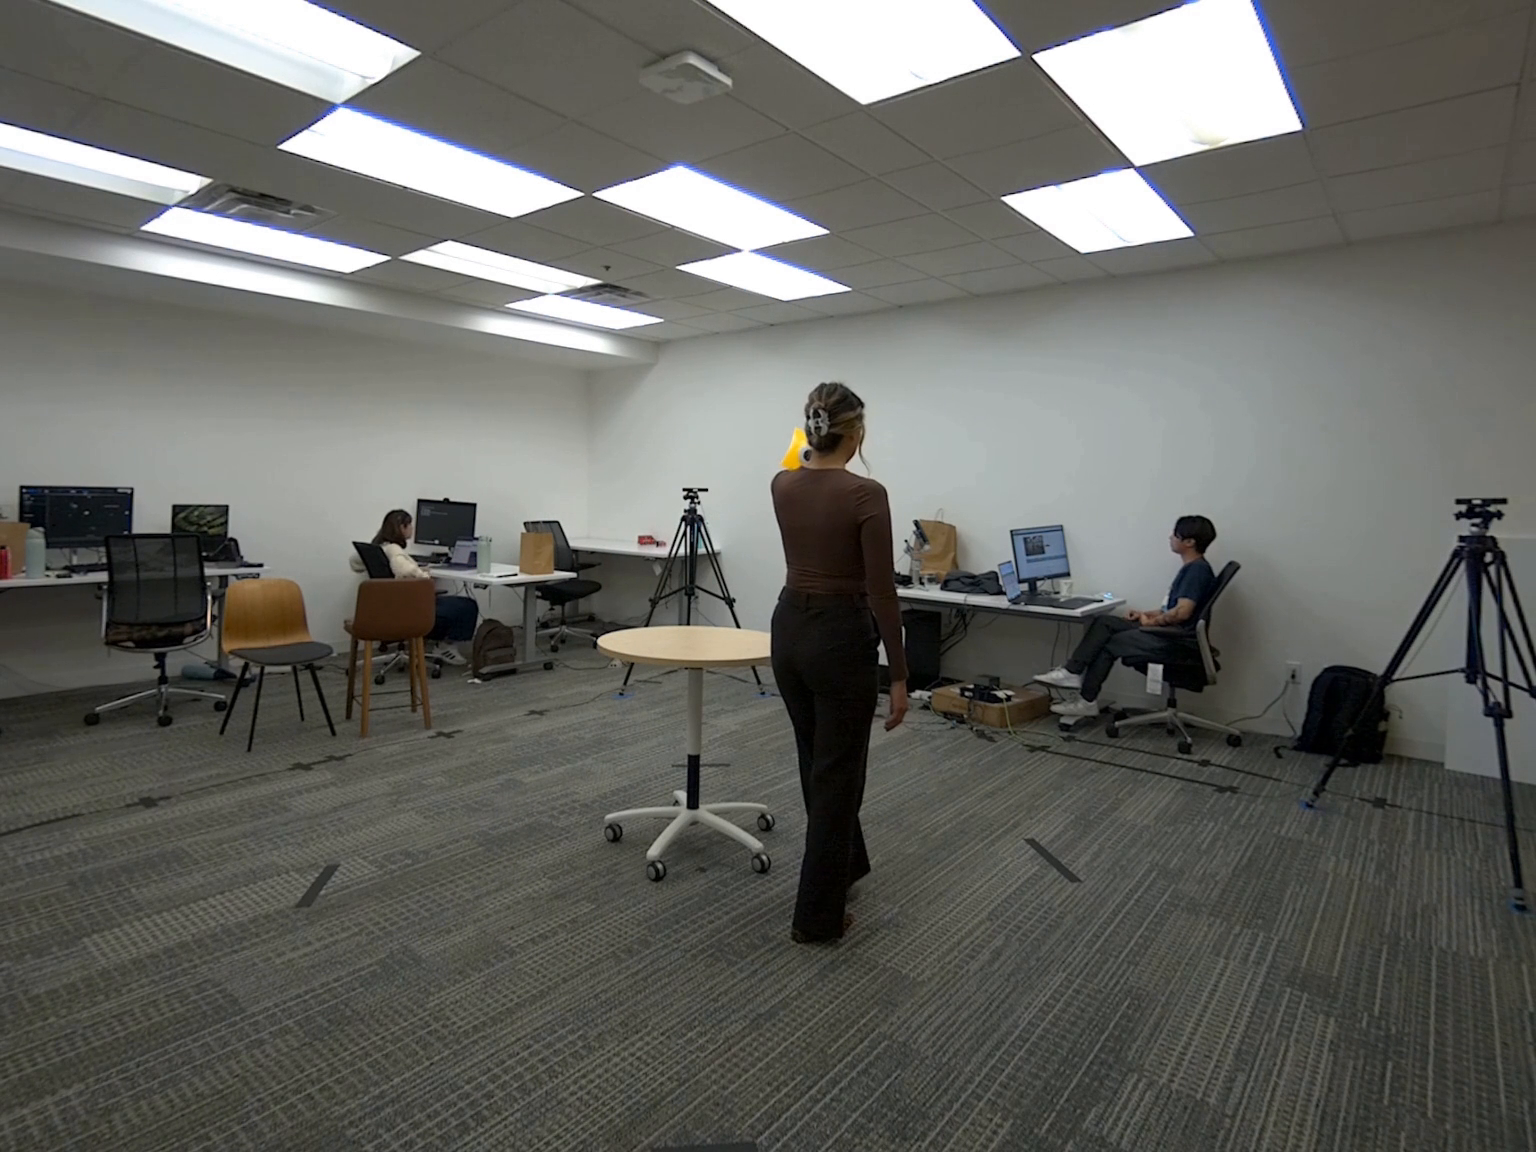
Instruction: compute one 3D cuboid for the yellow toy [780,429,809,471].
[{"bbox_3d":[0.143,-0.466,3.339,0.196,0.229,0.203,8,9,11],"label":"yellow toy"}]
